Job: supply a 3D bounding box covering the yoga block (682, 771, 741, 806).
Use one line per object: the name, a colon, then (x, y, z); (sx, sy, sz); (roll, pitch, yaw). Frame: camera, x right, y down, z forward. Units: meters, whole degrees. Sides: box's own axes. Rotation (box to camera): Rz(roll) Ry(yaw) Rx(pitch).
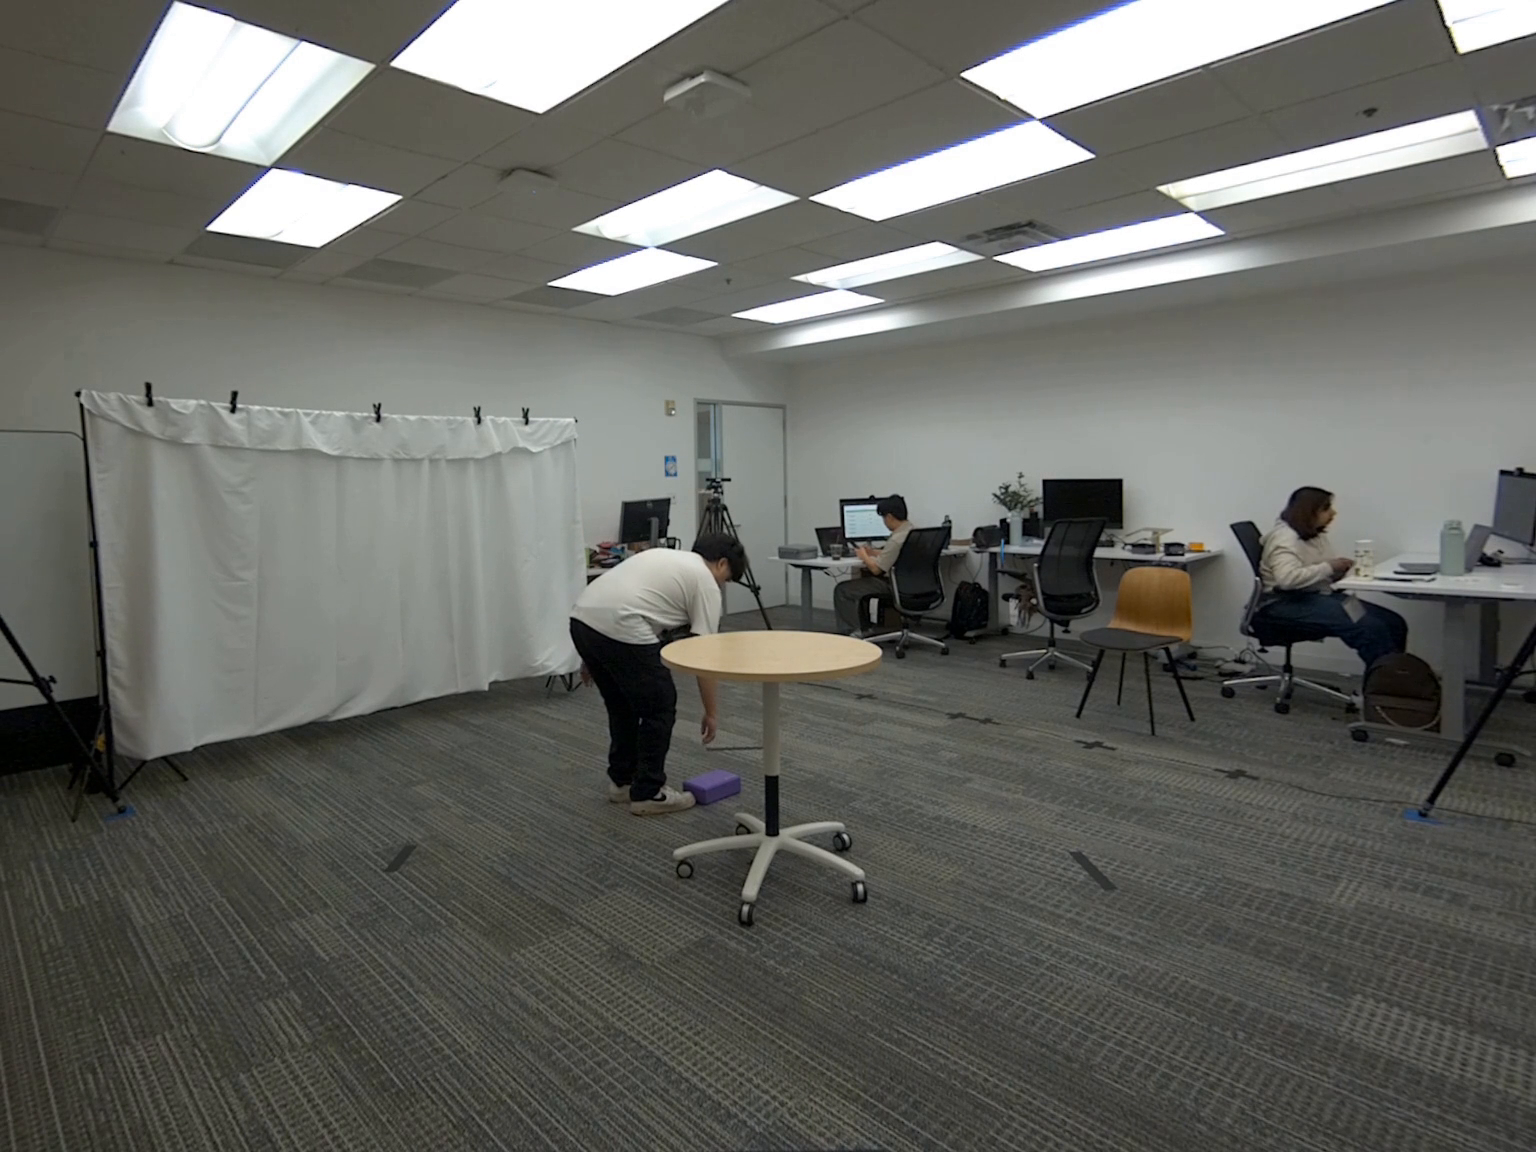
yoga block: (-0.250, 0.926, 3.774); (0.153, 0.076, 0.223); (4, 7, 43)
